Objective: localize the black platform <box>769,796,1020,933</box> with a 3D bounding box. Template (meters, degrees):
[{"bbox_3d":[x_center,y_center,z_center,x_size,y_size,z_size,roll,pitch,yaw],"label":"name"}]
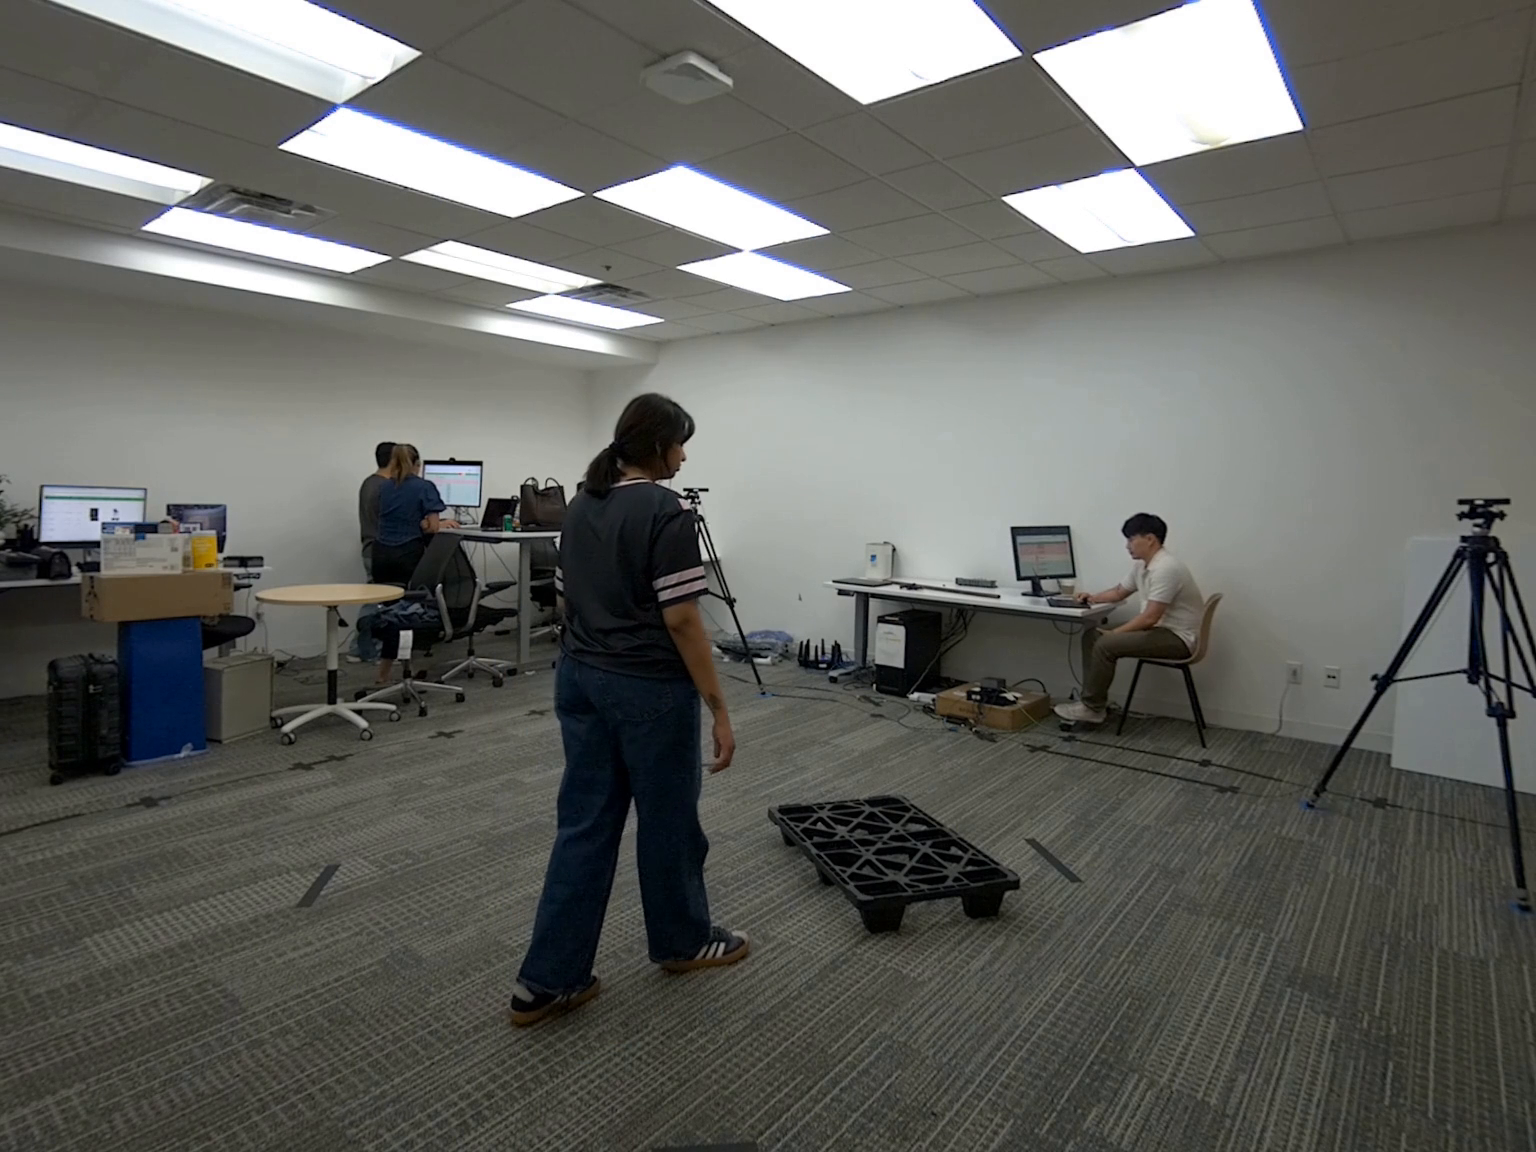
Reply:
[{"bbox_3d":[0.407,1.019,3.088,0.593,0.143,0.824,-1,6,-20],"label":"black platform"}]
